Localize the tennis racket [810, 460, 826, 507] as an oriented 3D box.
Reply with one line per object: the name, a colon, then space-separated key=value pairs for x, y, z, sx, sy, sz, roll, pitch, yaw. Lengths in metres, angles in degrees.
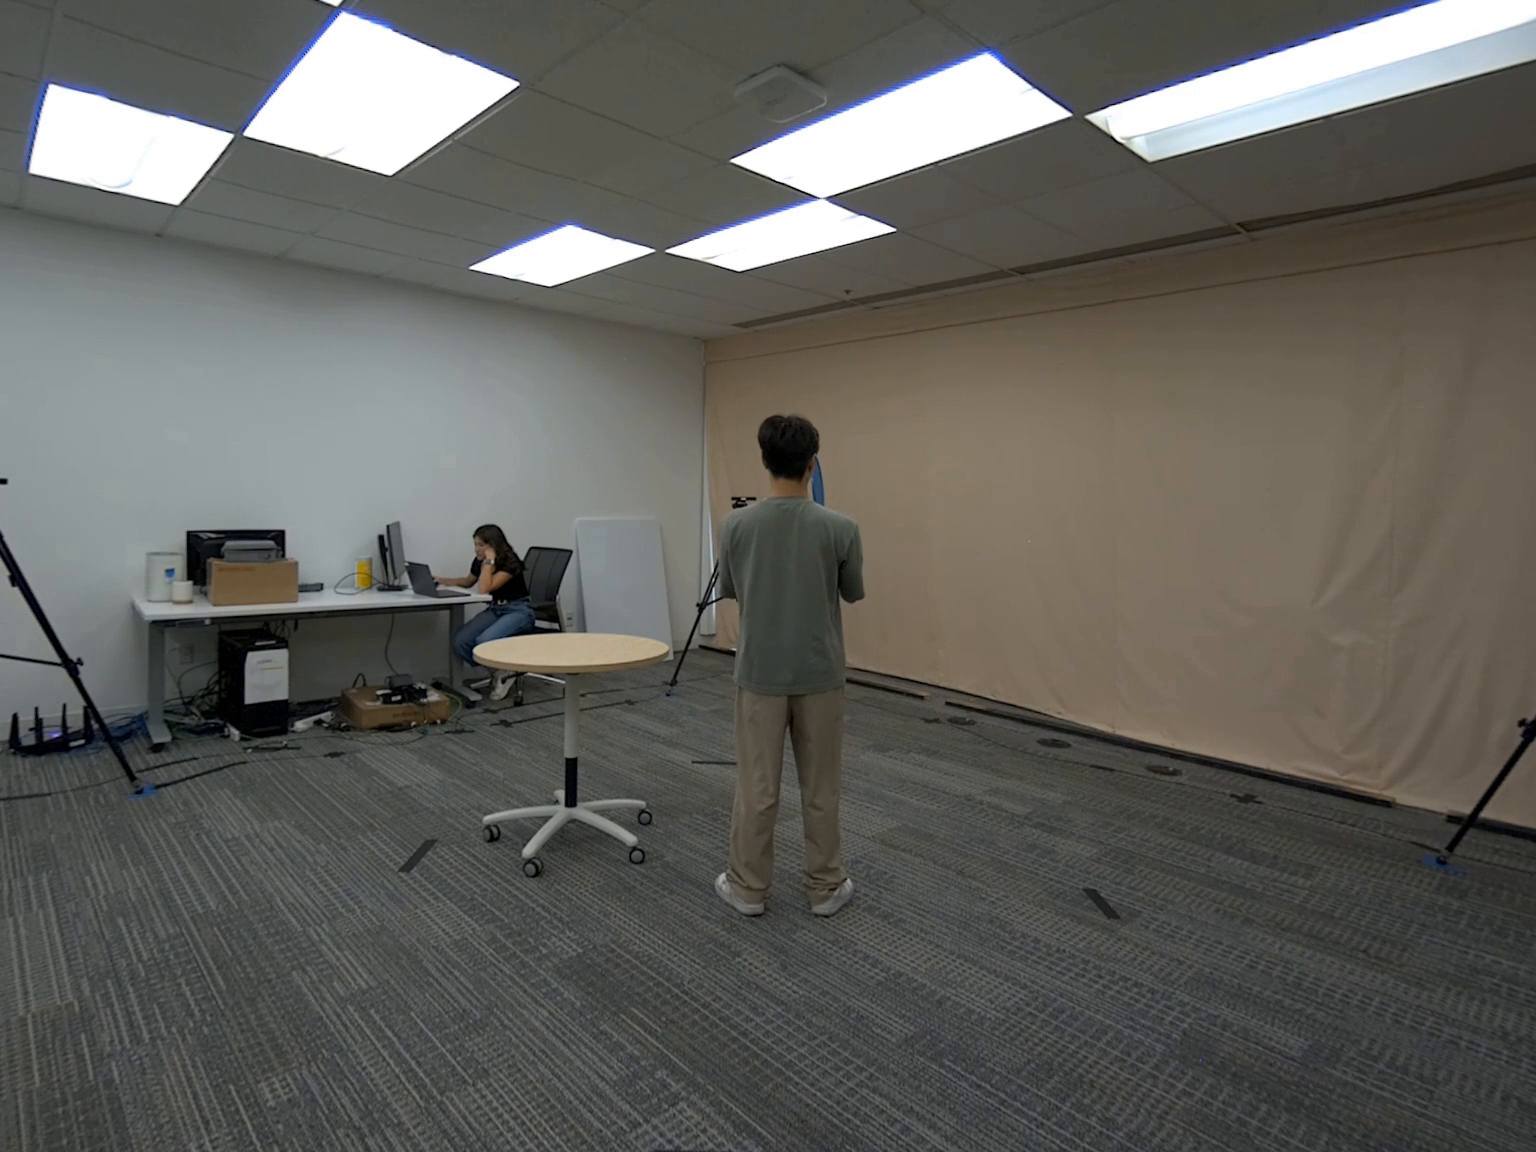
tennis racket: x=0.192 y=-0.269 z=3.286 sx=0.032 sy=0.440 sz=0.208 roll=-6 pitch=-23 yaw=15
